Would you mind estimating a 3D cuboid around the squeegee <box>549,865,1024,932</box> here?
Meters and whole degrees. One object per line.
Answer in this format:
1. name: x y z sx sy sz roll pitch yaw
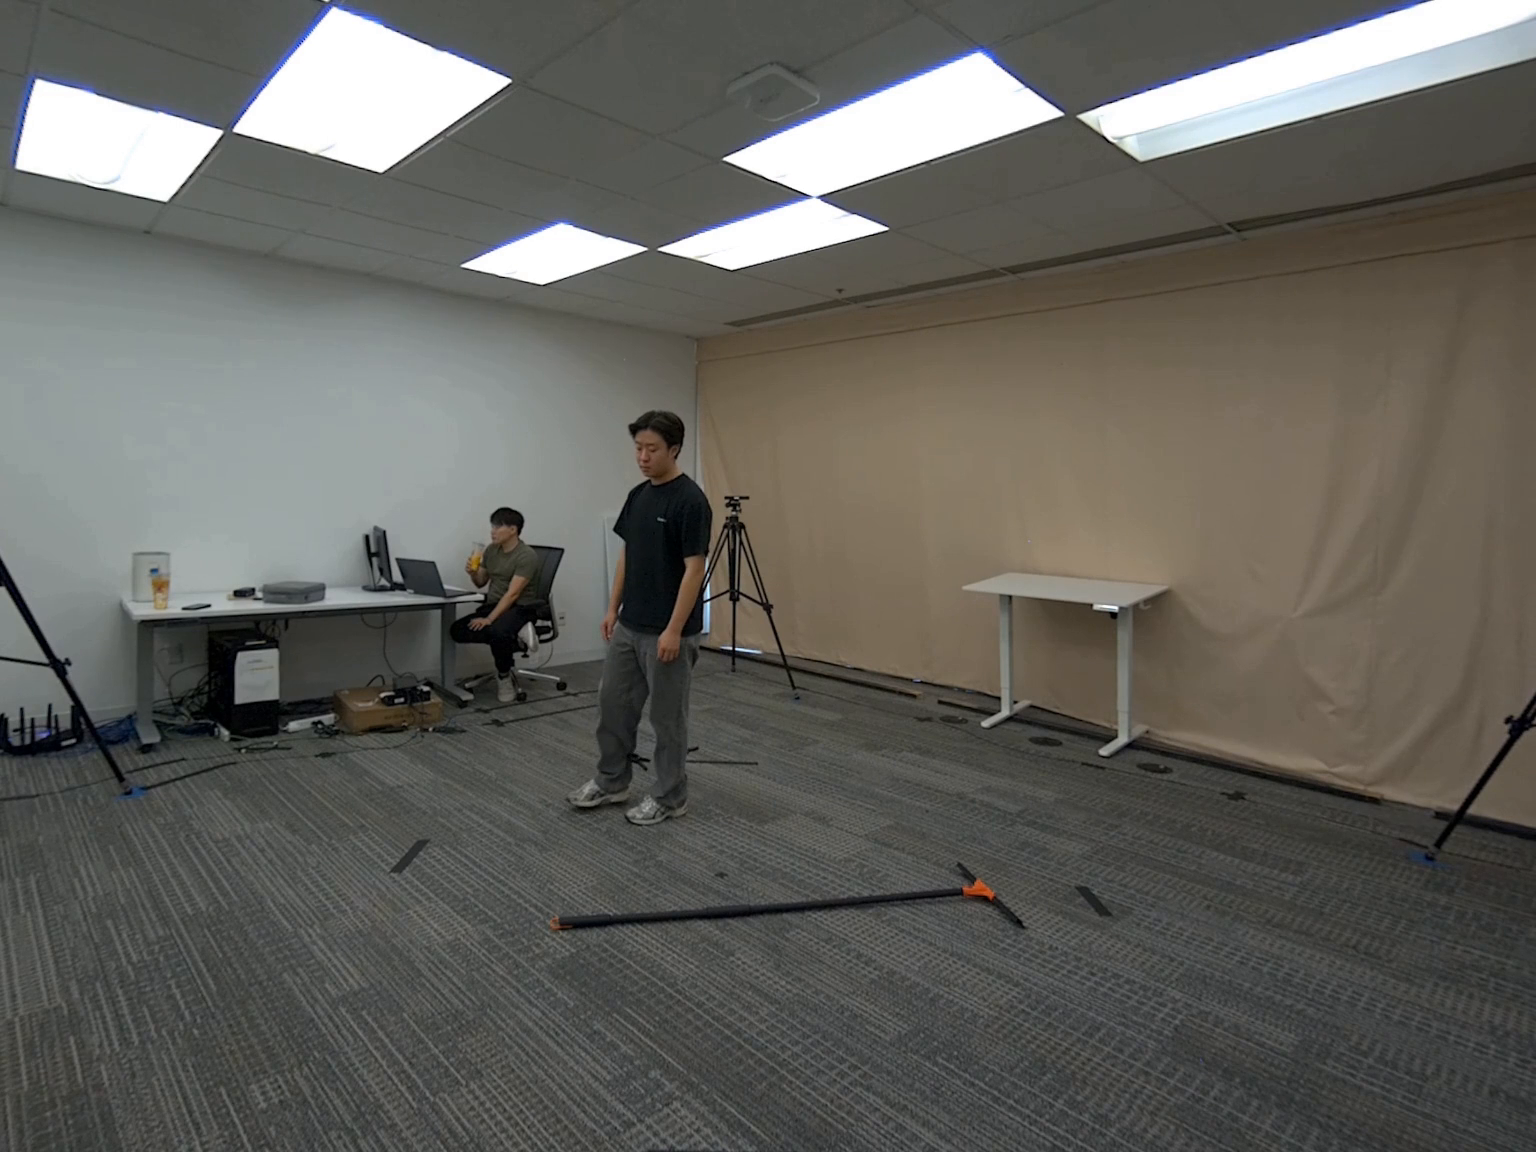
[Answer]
1. squeegee: 0.041 1.090 2.834 1.523 0.053 0.443 0 5 -12
